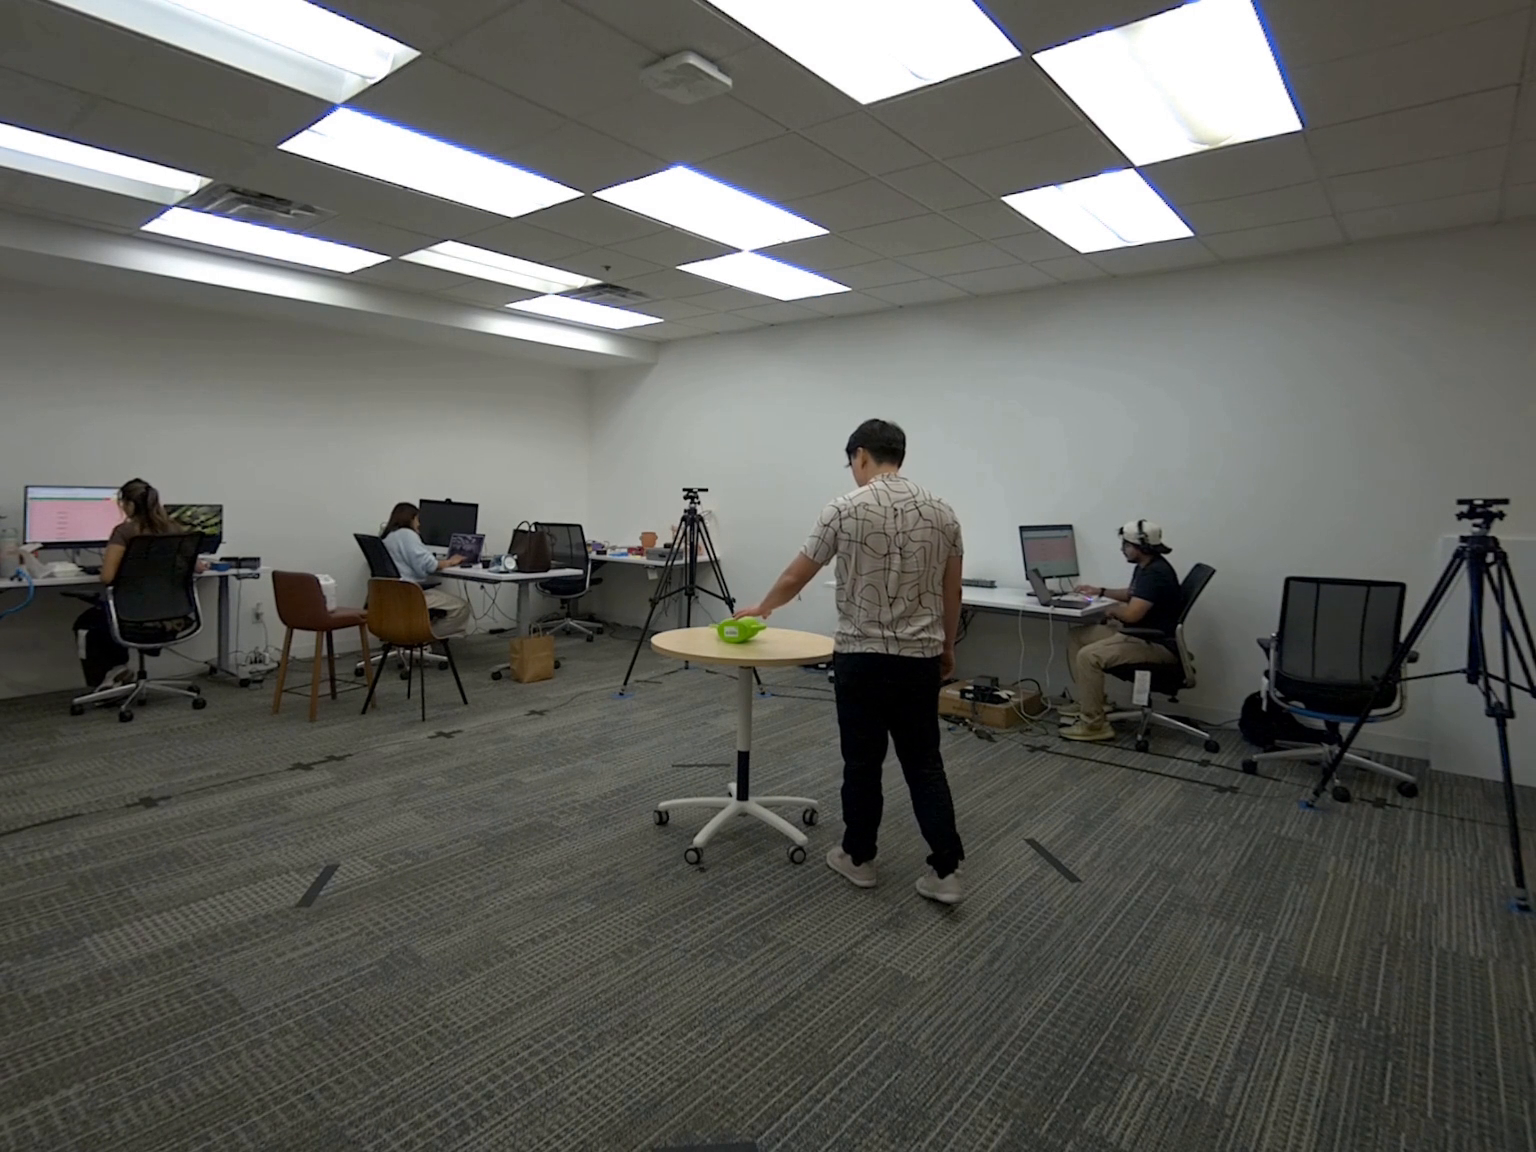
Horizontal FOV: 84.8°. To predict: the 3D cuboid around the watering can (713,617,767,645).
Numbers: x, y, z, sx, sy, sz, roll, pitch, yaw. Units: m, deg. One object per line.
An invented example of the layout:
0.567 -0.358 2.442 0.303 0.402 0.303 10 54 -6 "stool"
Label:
-0.156 0.218 3.444 0.283 0.099 0.172 -16 -4 27 "watering can"
